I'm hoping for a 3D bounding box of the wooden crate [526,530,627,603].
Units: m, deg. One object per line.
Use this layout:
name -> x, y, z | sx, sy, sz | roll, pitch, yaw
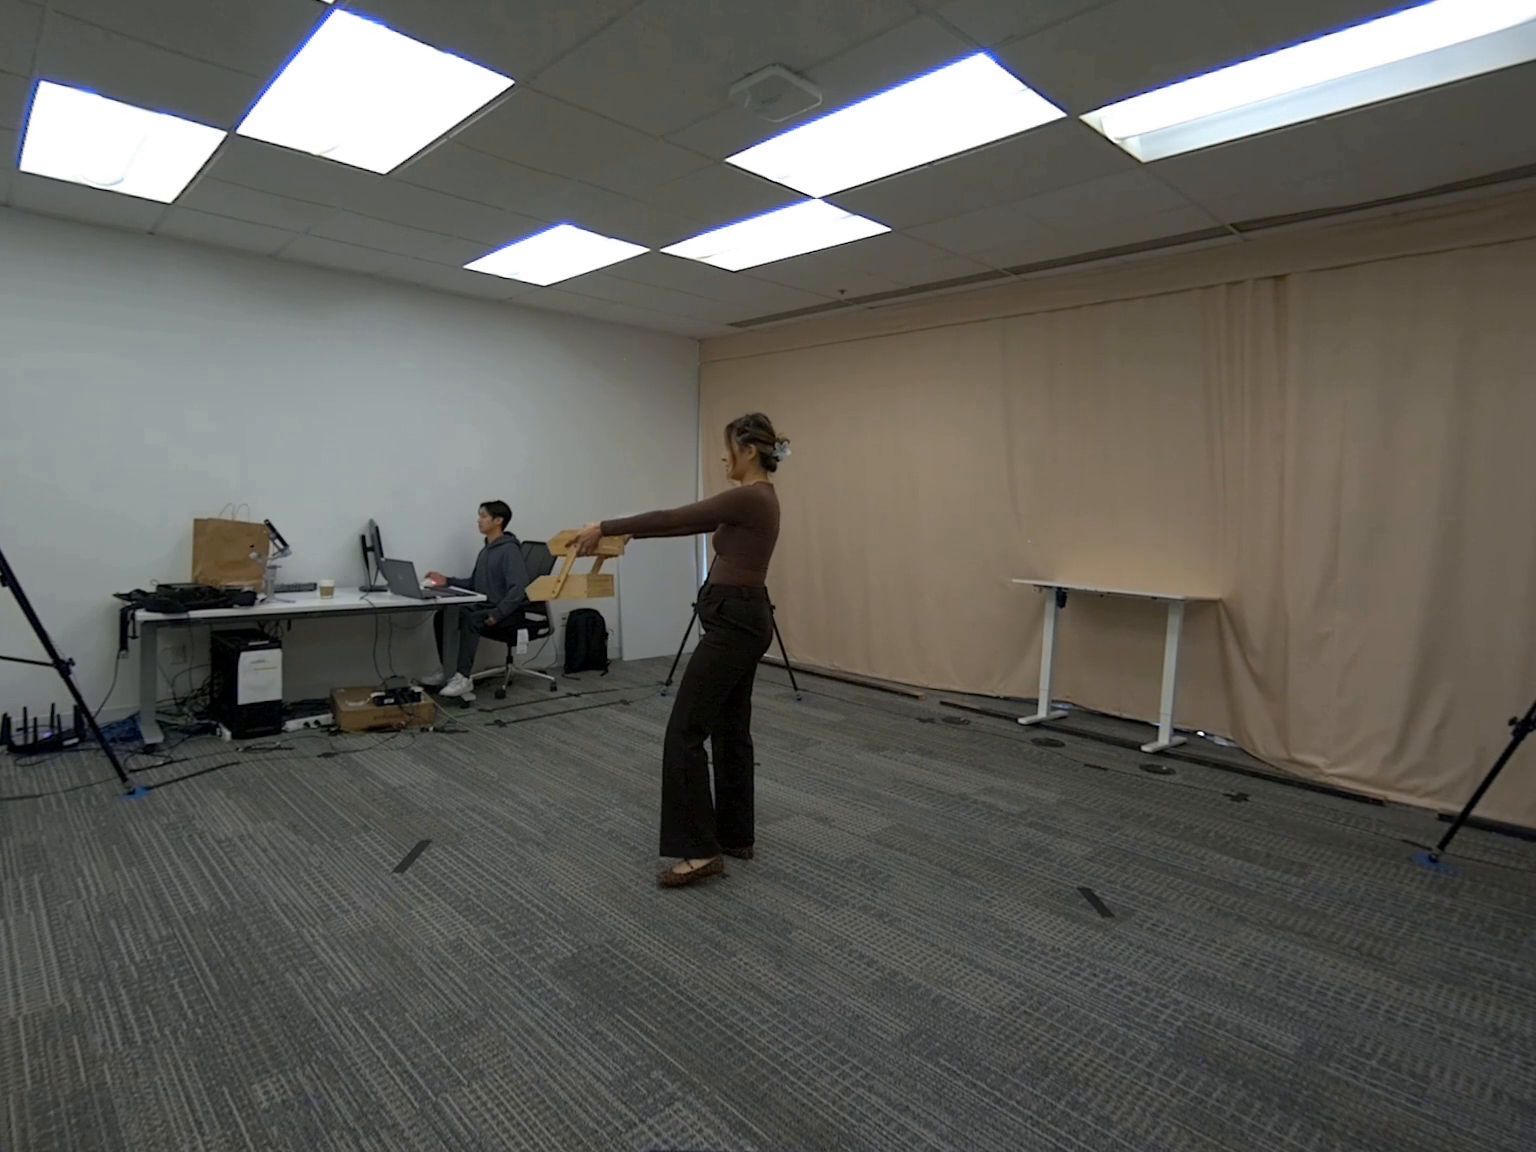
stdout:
wooden crate -> -0.763, -0.044, 3.315 | 0.304, 0.274, 0.321 | -1, -1, 10
